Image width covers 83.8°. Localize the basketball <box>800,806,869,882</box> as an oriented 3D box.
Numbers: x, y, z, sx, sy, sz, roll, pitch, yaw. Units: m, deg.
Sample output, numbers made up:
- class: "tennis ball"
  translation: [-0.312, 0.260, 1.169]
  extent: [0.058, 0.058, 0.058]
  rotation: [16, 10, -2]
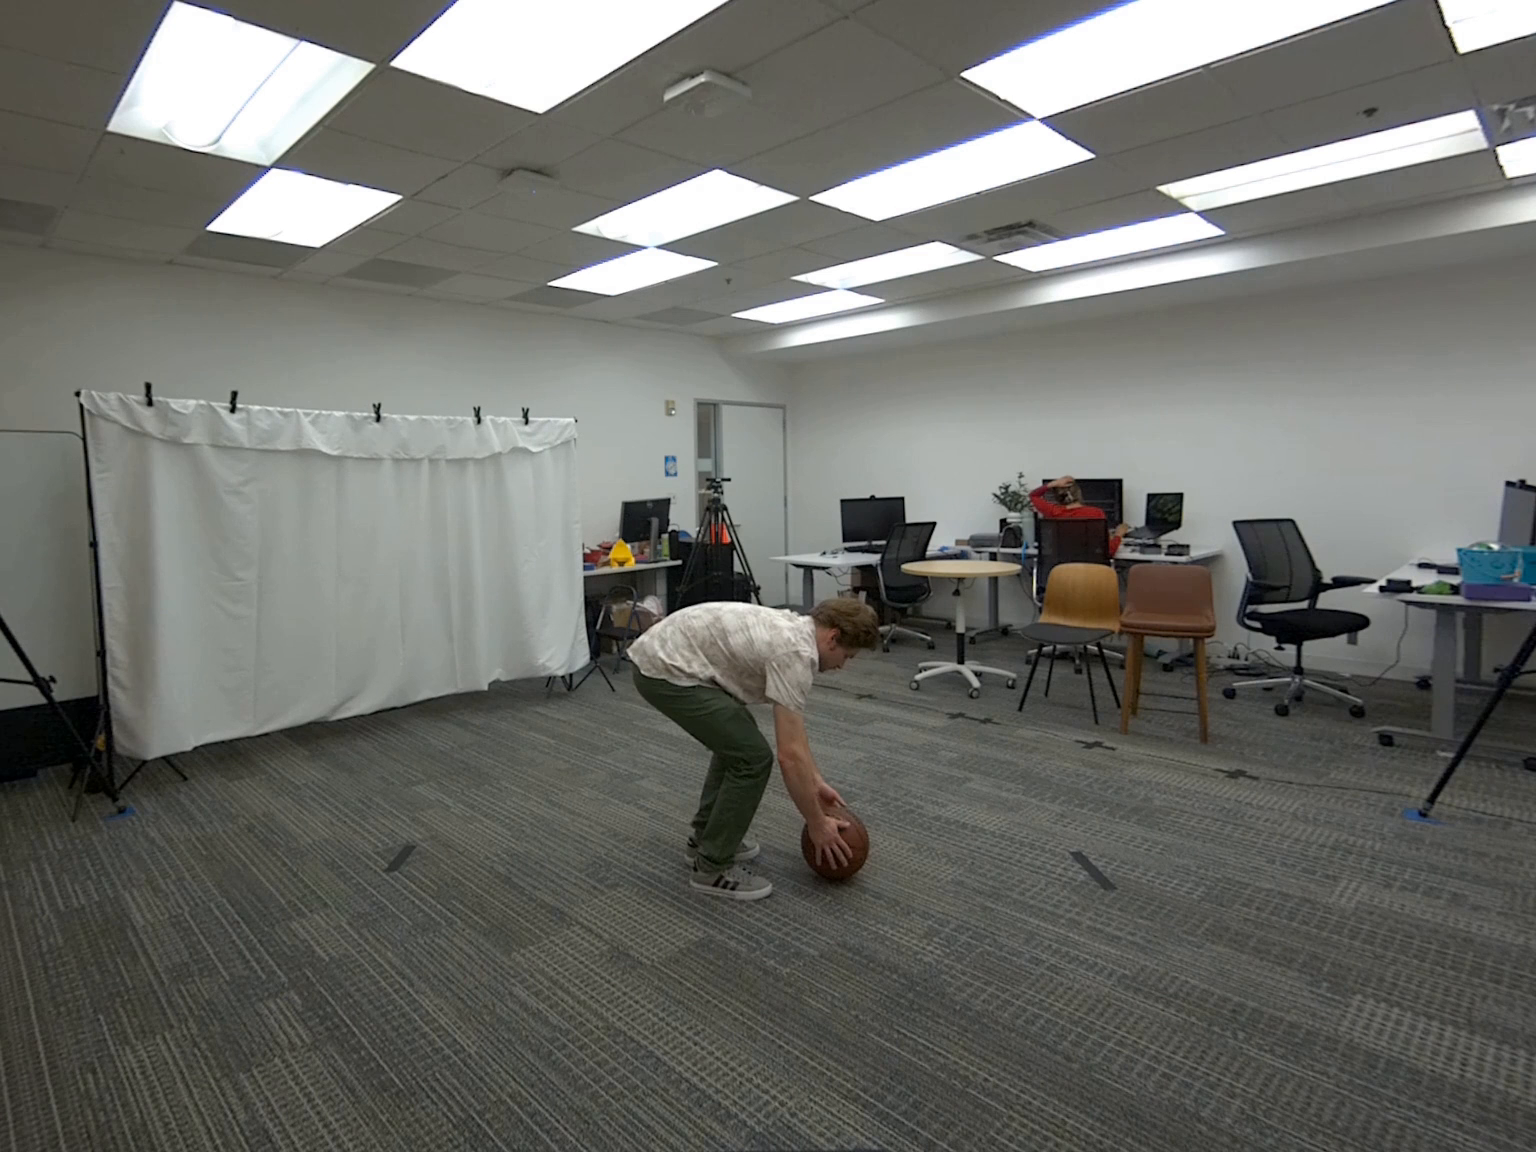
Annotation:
- class: "basketball"
  translation: [0.240, 0.926, 2.979]
  extent: [0.236, 0.235, 0.237]
  rotation: [-1, 5, -2]
